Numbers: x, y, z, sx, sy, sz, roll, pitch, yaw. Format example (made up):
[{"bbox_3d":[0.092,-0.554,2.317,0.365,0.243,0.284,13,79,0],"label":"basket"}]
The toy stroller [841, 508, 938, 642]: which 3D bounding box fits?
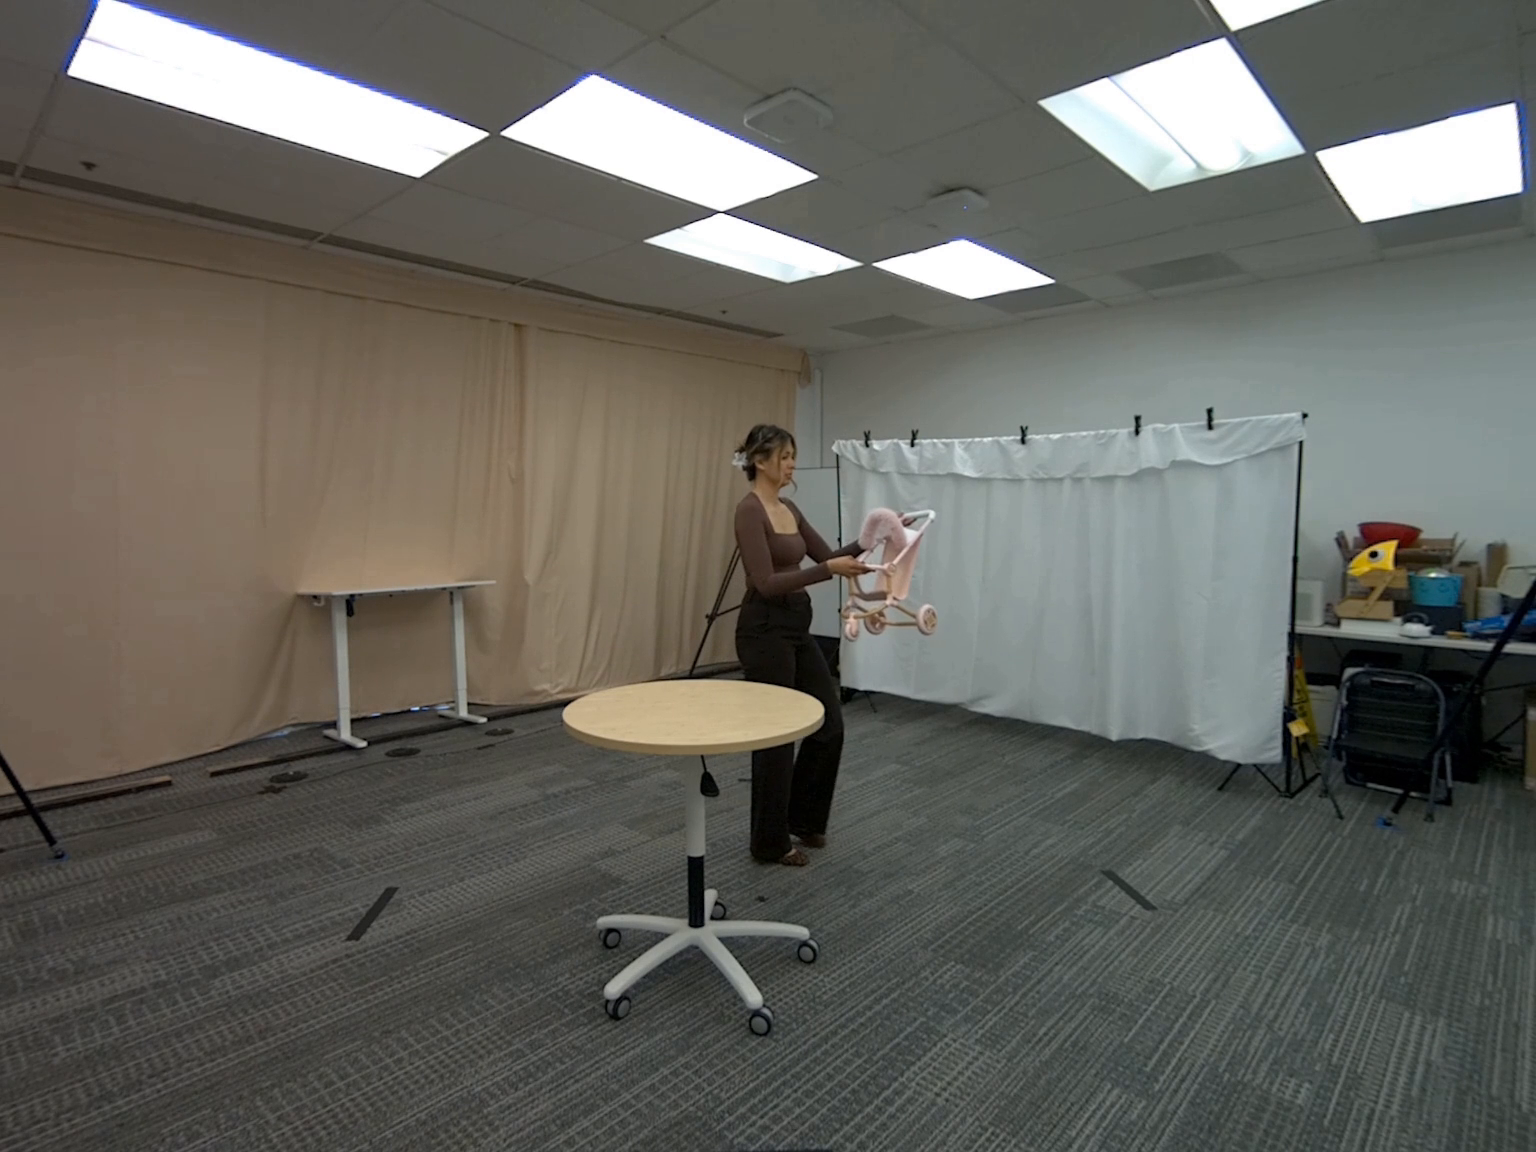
[{"bbox_3d":[0.431,-0.009,3.080,0.331,0.538,0.289,13,-12,-32],"label":"toy stroller"}]
